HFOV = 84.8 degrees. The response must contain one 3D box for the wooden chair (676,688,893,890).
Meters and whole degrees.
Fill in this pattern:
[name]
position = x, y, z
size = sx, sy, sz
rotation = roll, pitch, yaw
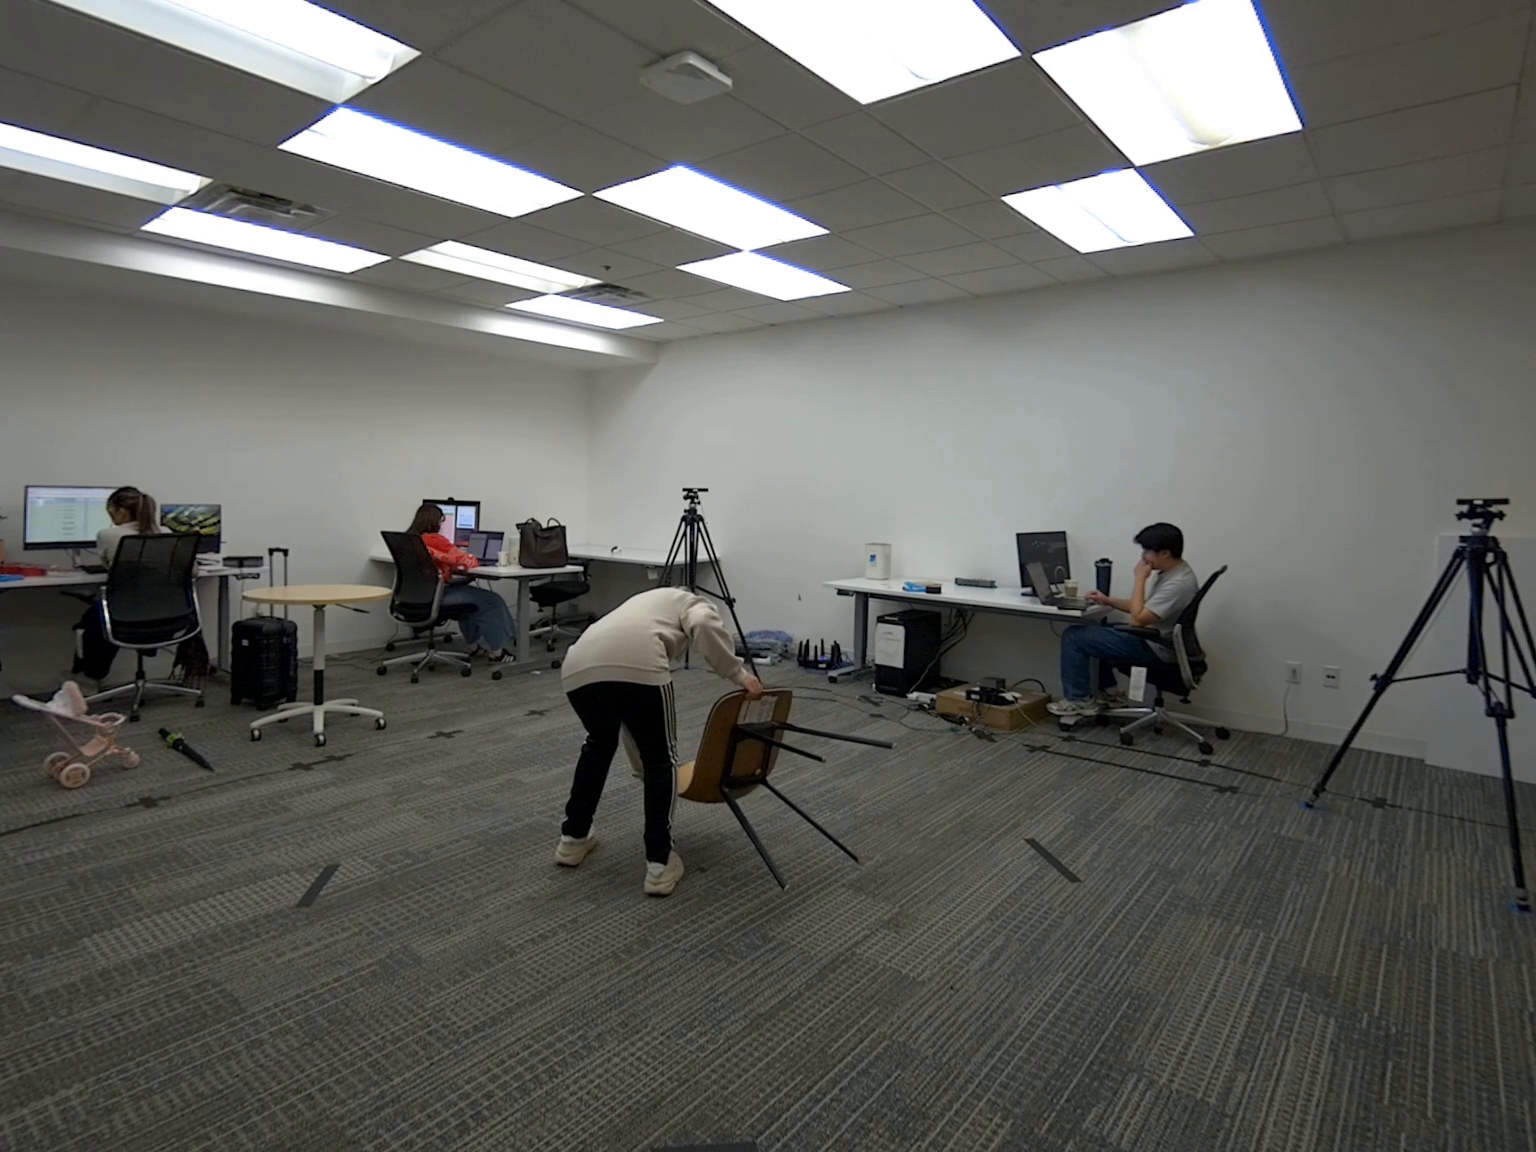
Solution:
[wooden chair]
position = -0.072, 0.662, 3.111
size = 0.911, 0.521, 0.462
rotation = 15, 6, 39
